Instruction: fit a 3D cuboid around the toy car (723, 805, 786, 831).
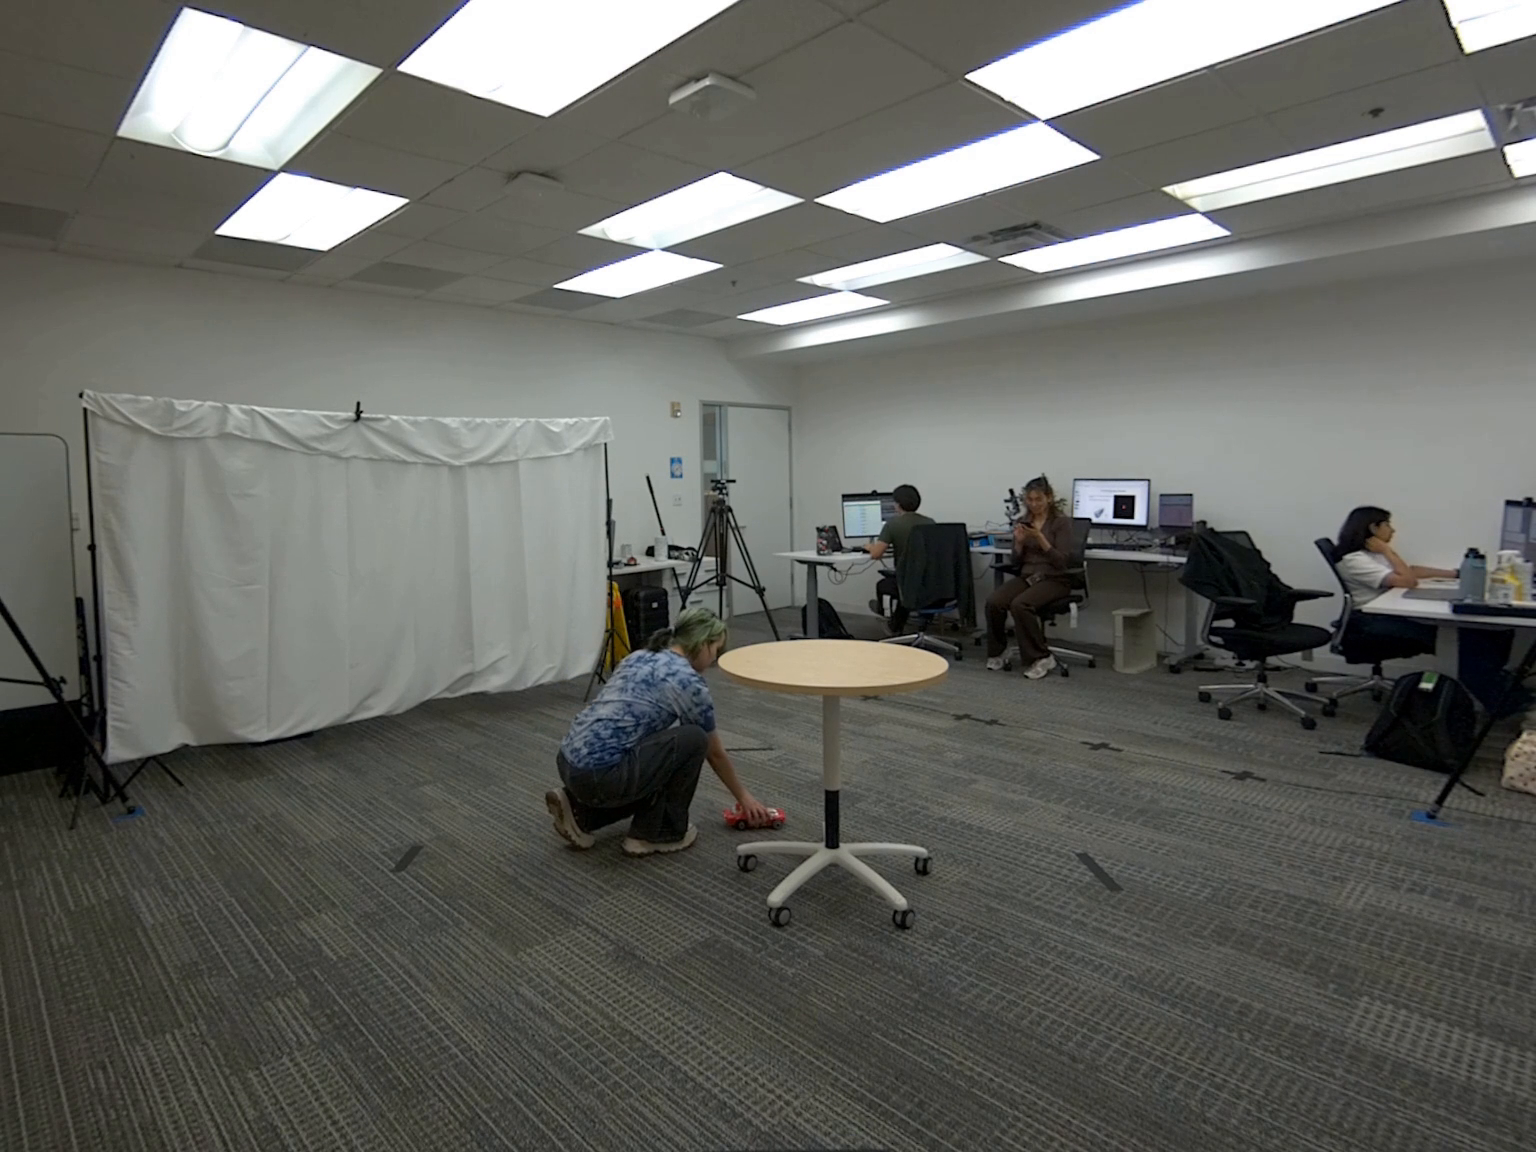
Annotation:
[{"bbox_3d":[-0.063,0.976,3.458,0.253,0.083,0.131,9,5,-5],"label":"toy car"}]
